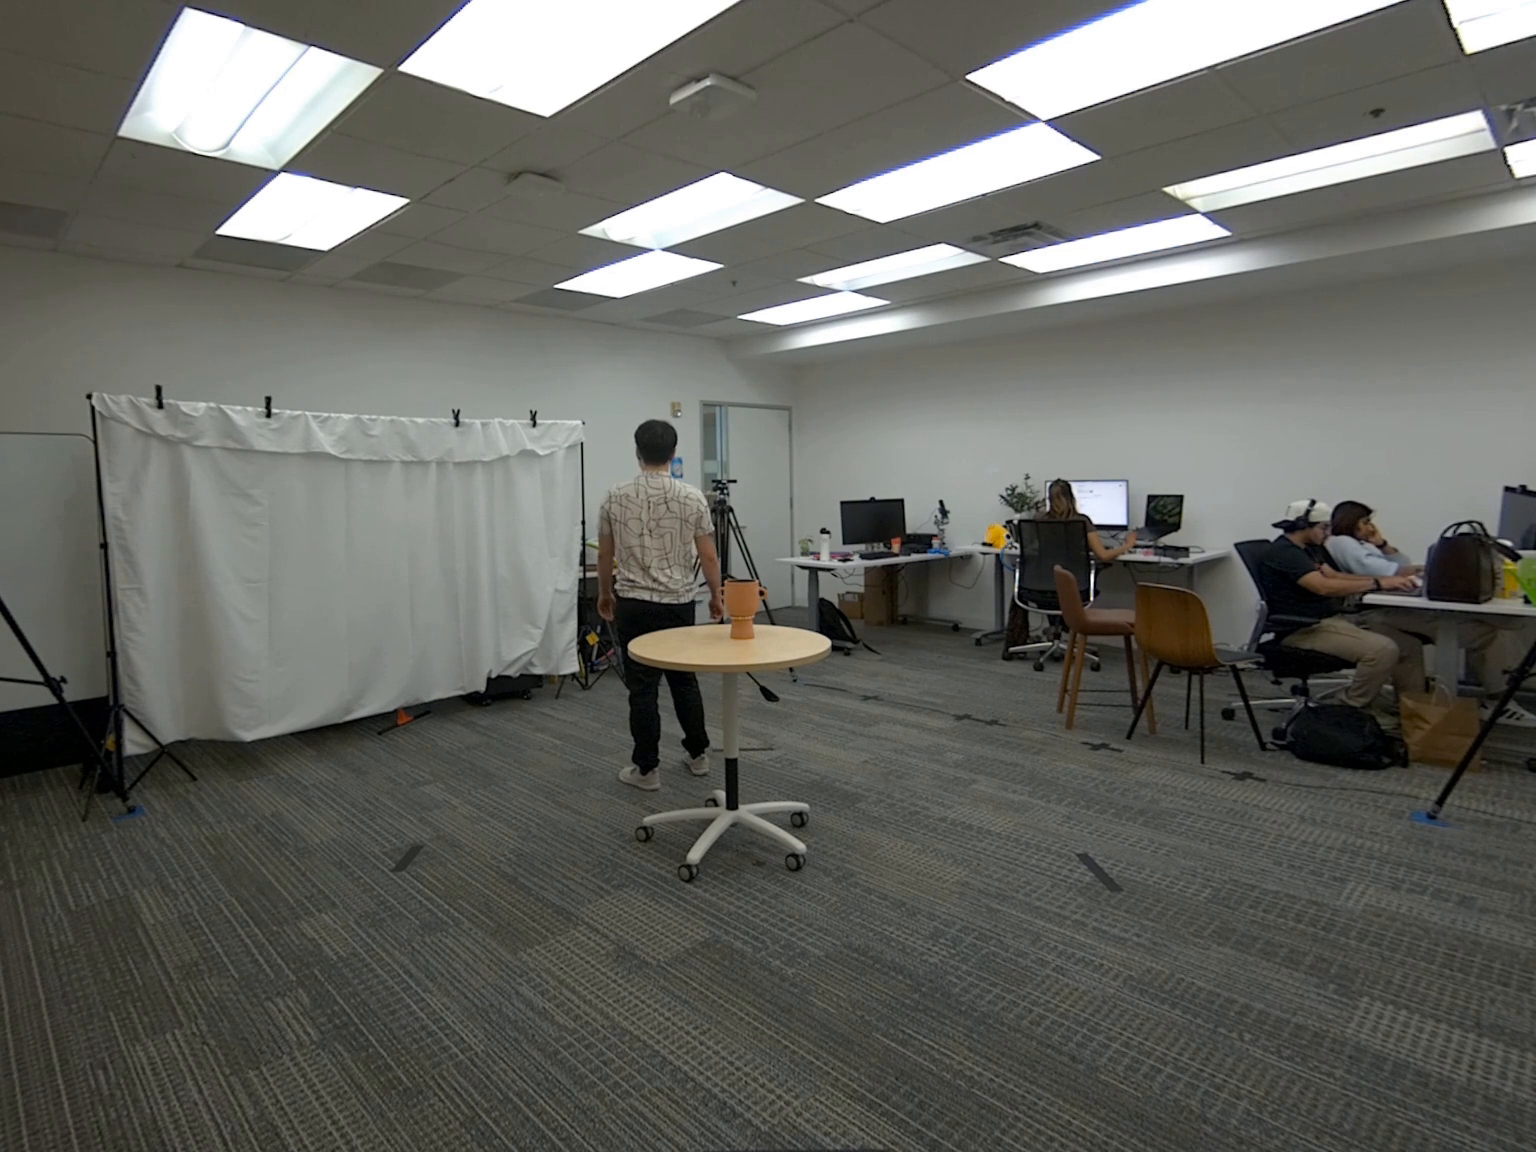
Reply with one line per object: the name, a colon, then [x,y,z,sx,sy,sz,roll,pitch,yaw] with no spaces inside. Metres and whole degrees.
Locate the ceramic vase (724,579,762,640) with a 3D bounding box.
ceramic vase: [-0.098,0.128,3.326,0.131,0.219,0.163,-4,5,-44]
